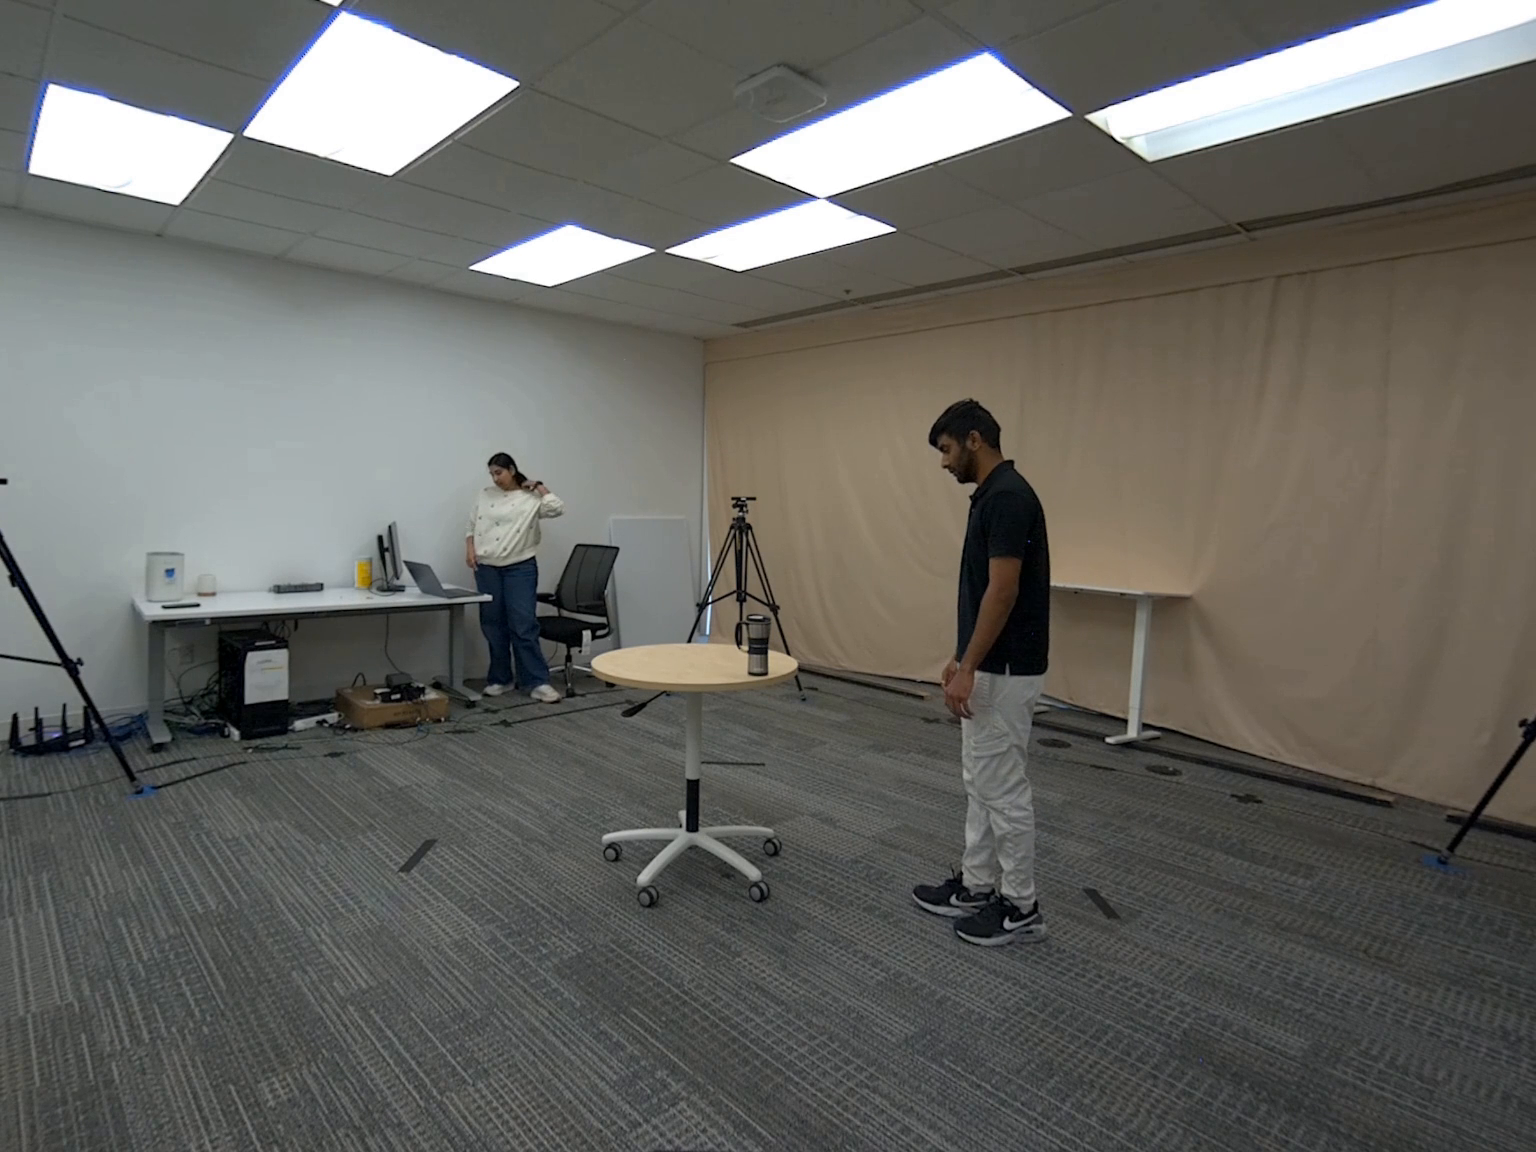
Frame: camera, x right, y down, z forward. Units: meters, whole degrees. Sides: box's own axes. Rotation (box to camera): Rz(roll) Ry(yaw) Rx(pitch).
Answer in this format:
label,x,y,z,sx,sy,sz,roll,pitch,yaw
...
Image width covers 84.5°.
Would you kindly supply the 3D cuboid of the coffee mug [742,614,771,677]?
label,x,y,z,sx,sy,sz,roll,pitch,yaw
coffee mug,-0.052,0.243,2.911,0.124,0.202,0.087,6,9,20
